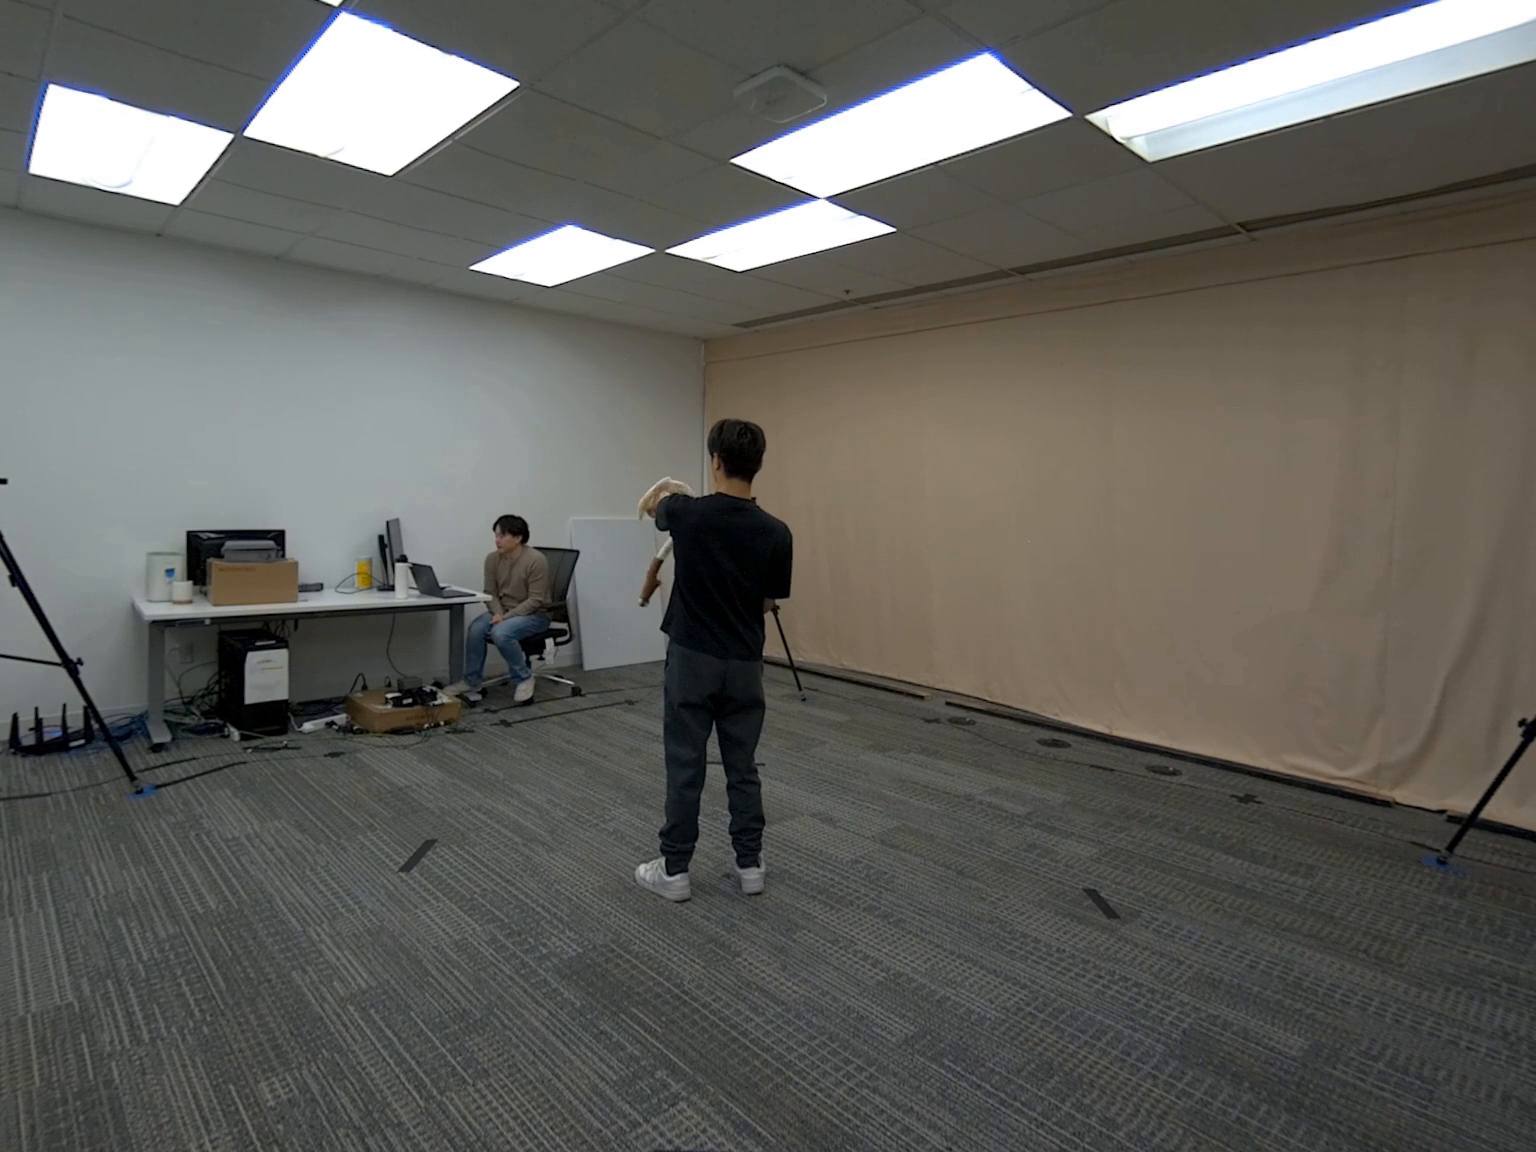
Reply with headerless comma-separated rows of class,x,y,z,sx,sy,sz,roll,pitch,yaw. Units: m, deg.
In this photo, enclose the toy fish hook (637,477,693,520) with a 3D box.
toy fish hook,-0.448,-0.135,3.266,0.221,0.507,0.049,22,-3,-16
